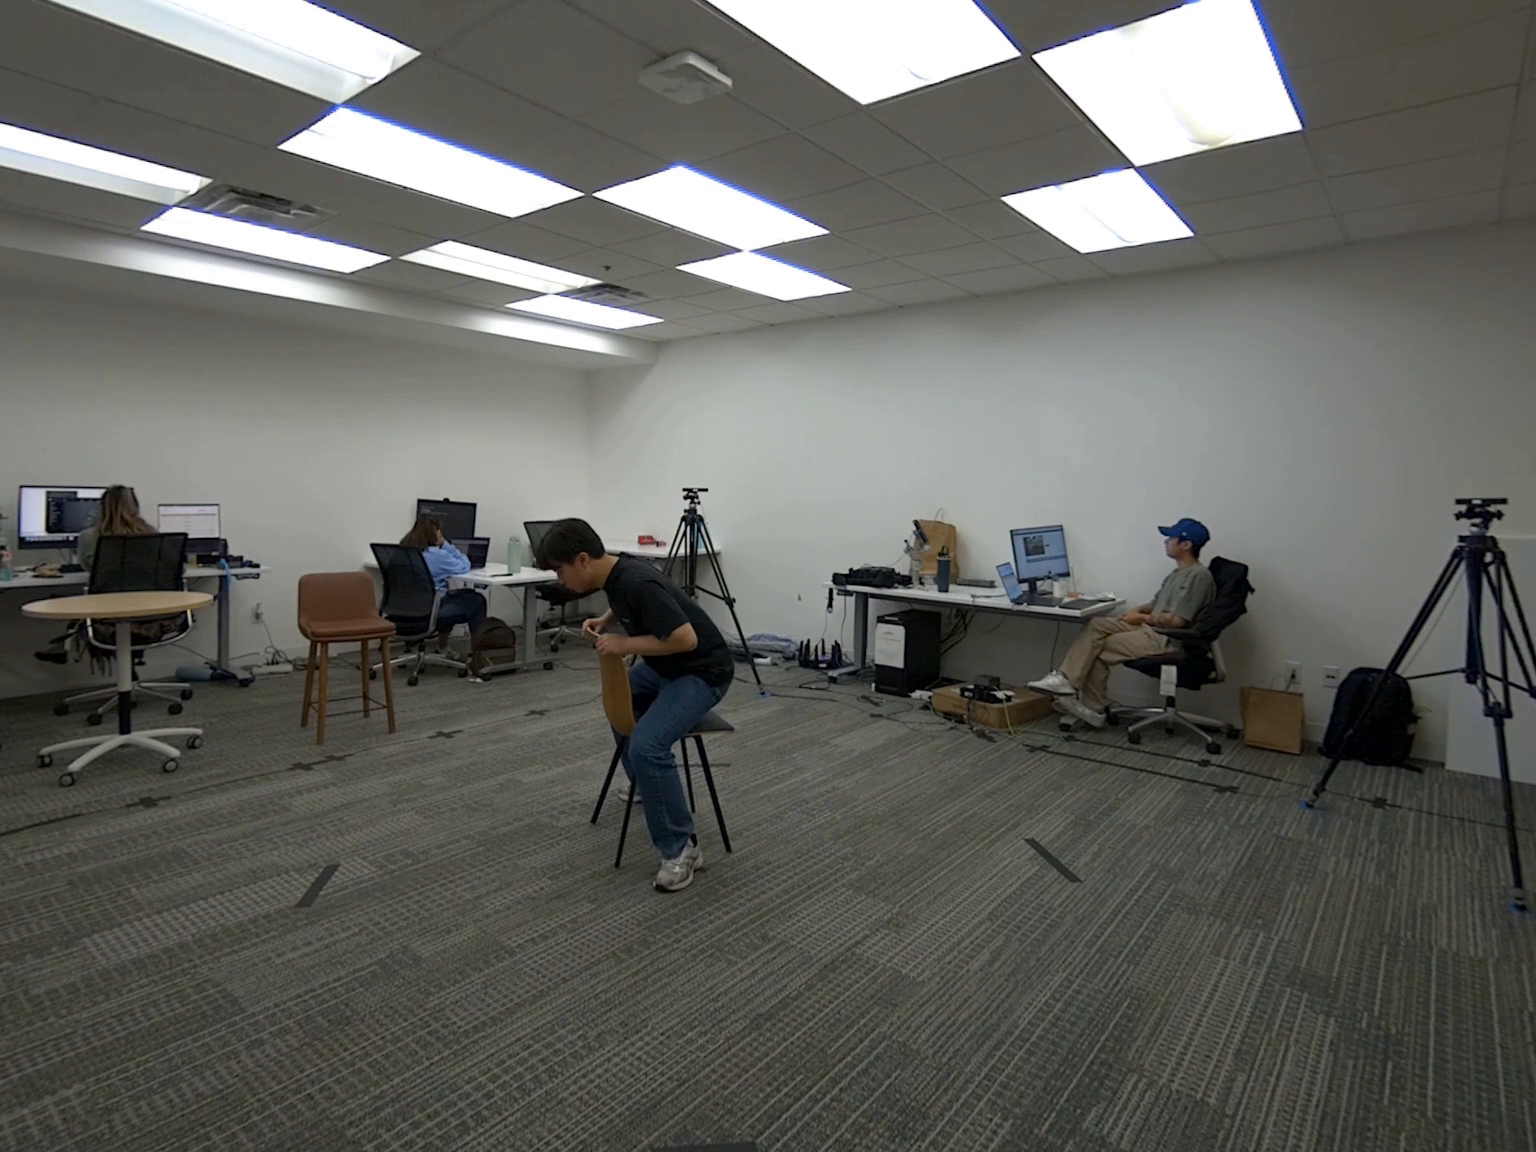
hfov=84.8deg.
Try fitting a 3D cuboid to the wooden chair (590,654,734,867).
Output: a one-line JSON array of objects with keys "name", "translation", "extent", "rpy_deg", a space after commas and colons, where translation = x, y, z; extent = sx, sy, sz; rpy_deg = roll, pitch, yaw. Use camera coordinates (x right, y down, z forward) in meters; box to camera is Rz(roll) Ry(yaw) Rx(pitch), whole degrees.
[{"name": "wooden chair", "translation": [-0.434, 0.621, 3.369], "extent": [0.513, 0.874, 0.490], "rpy_deg": [-4, 5, -22]}]
